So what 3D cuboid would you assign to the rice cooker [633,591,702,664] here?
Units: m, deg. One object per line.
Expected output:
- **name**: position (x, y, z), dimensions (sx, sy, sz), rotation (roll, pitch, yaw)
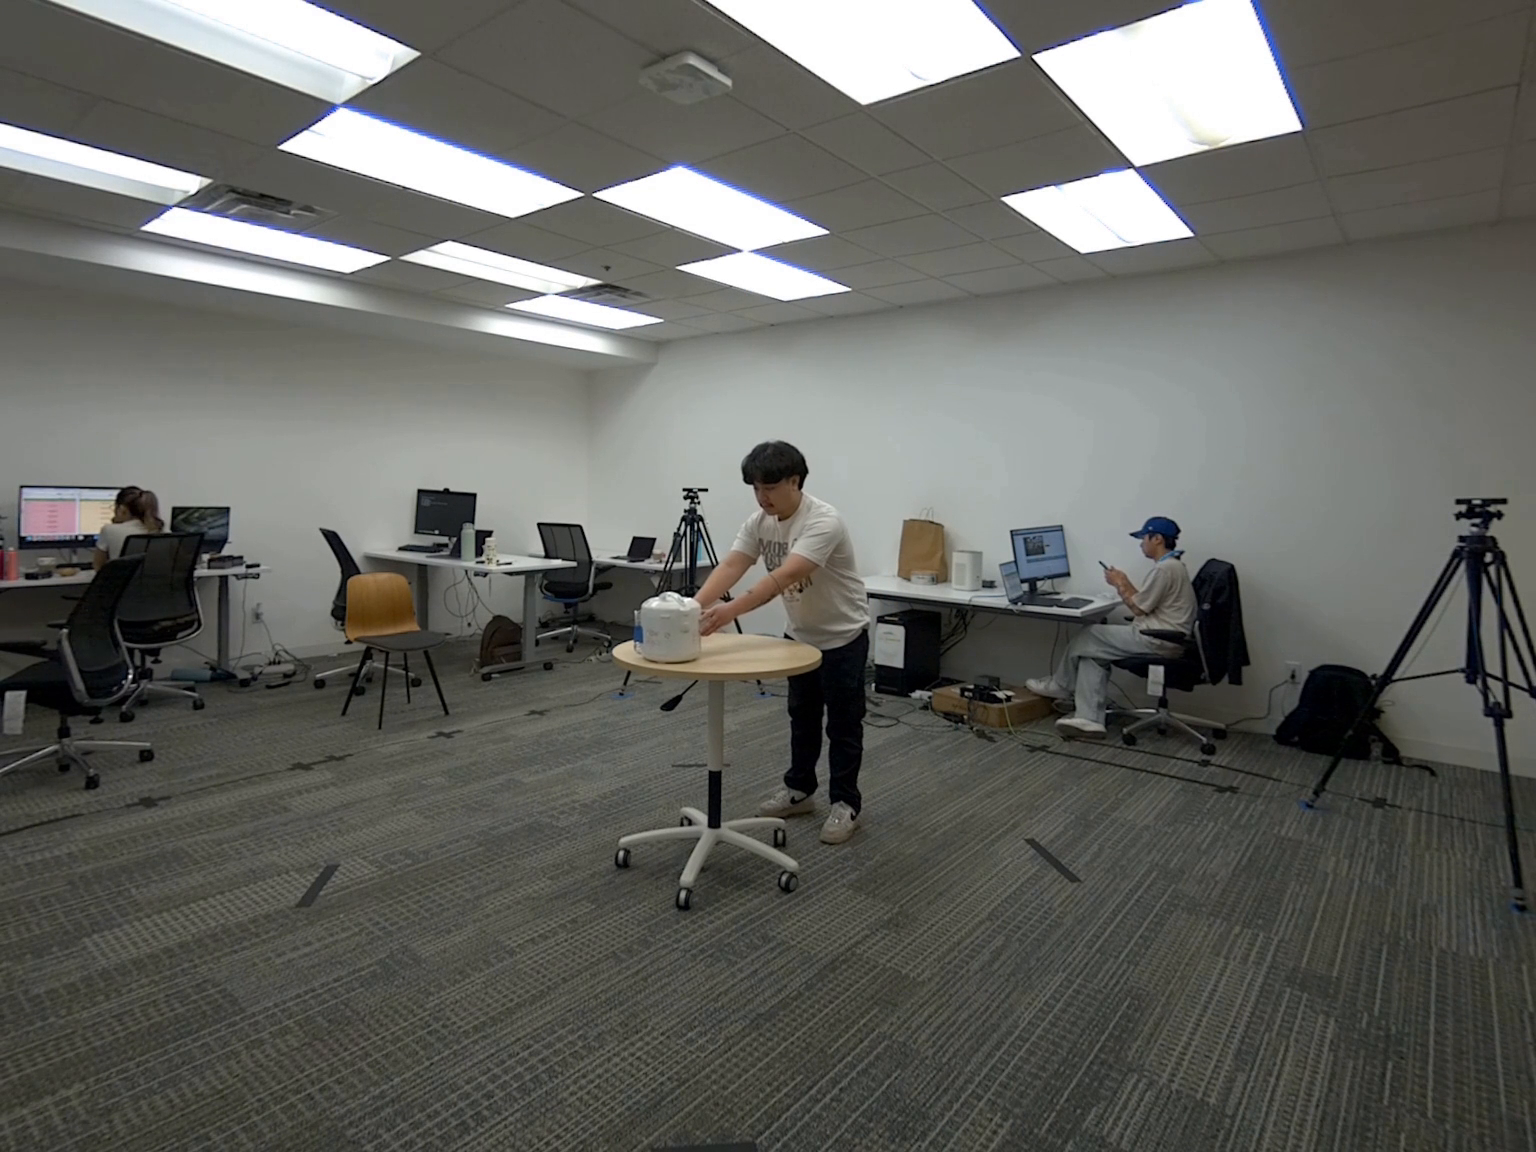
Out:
- **rice cooker**: position (-0.346, 0.169, 2.957), dimensions (0.211, 0.232, 0.228), rotation (-2, 6, -32)
